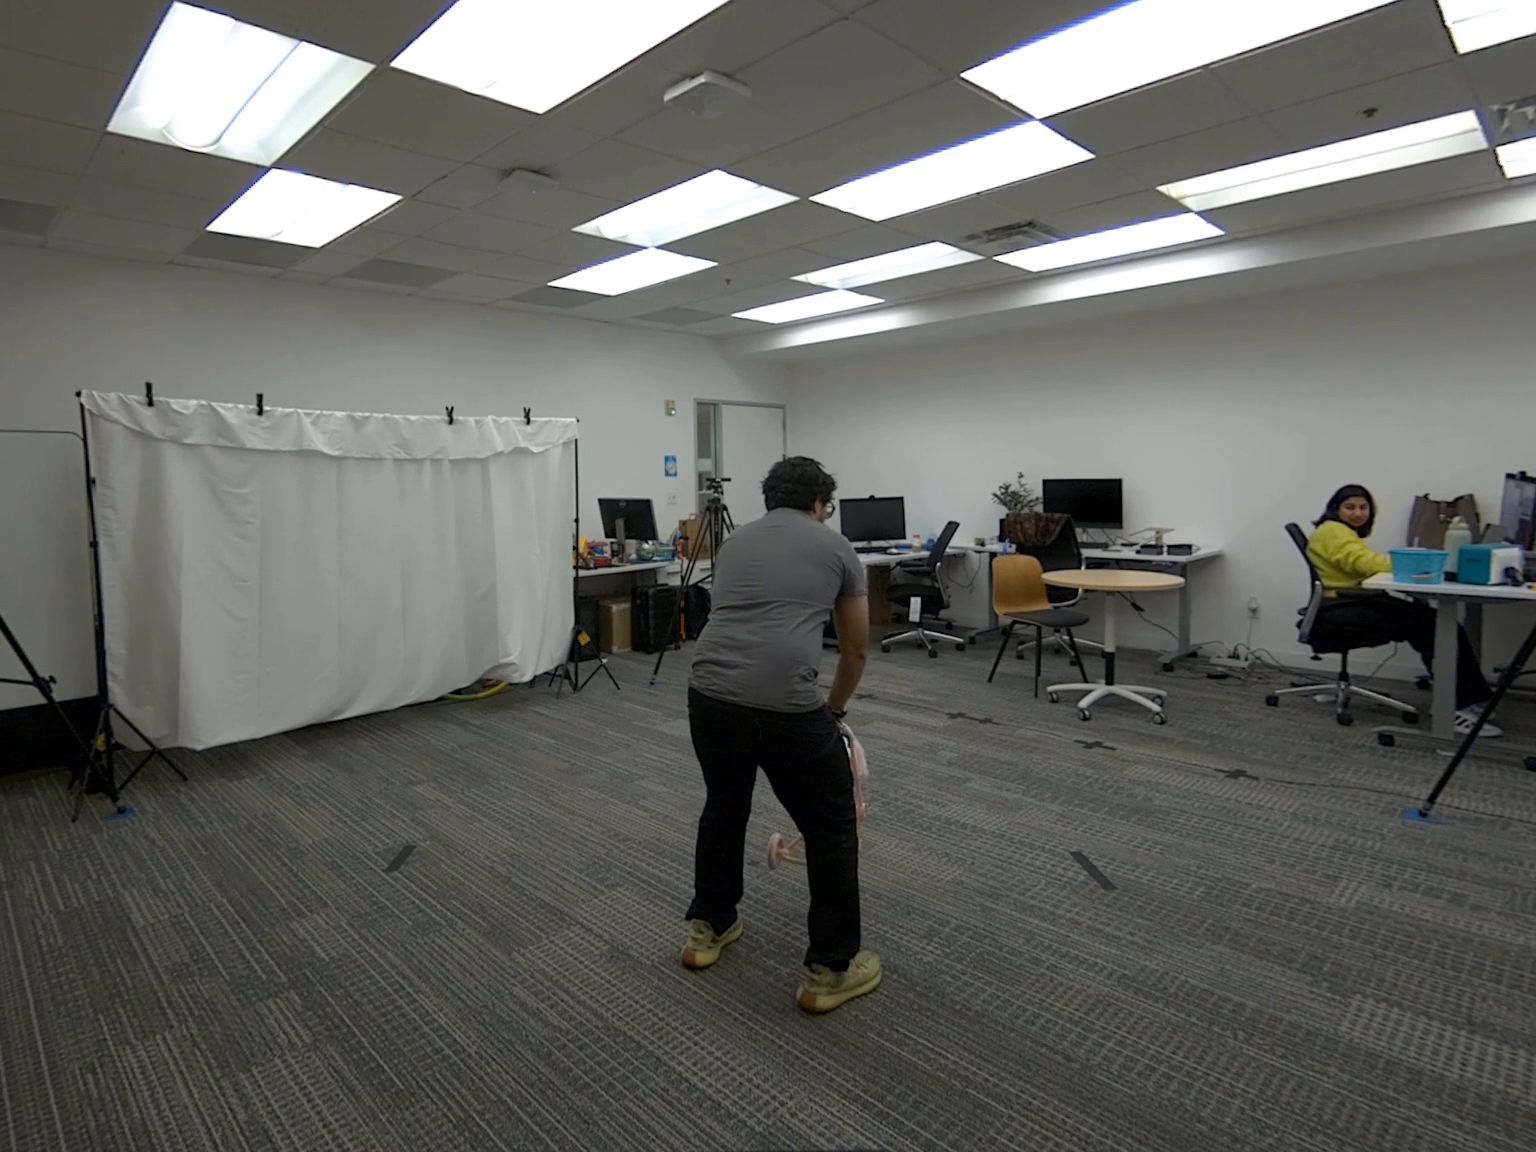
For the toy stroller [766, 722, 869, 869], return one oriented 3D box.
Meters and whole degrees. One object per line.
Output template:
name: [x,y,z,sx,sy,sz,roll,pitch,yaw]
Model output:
toy stroller: [0.207,0.756,2.780,0.288,0.540,0.330,1,-12,28]
